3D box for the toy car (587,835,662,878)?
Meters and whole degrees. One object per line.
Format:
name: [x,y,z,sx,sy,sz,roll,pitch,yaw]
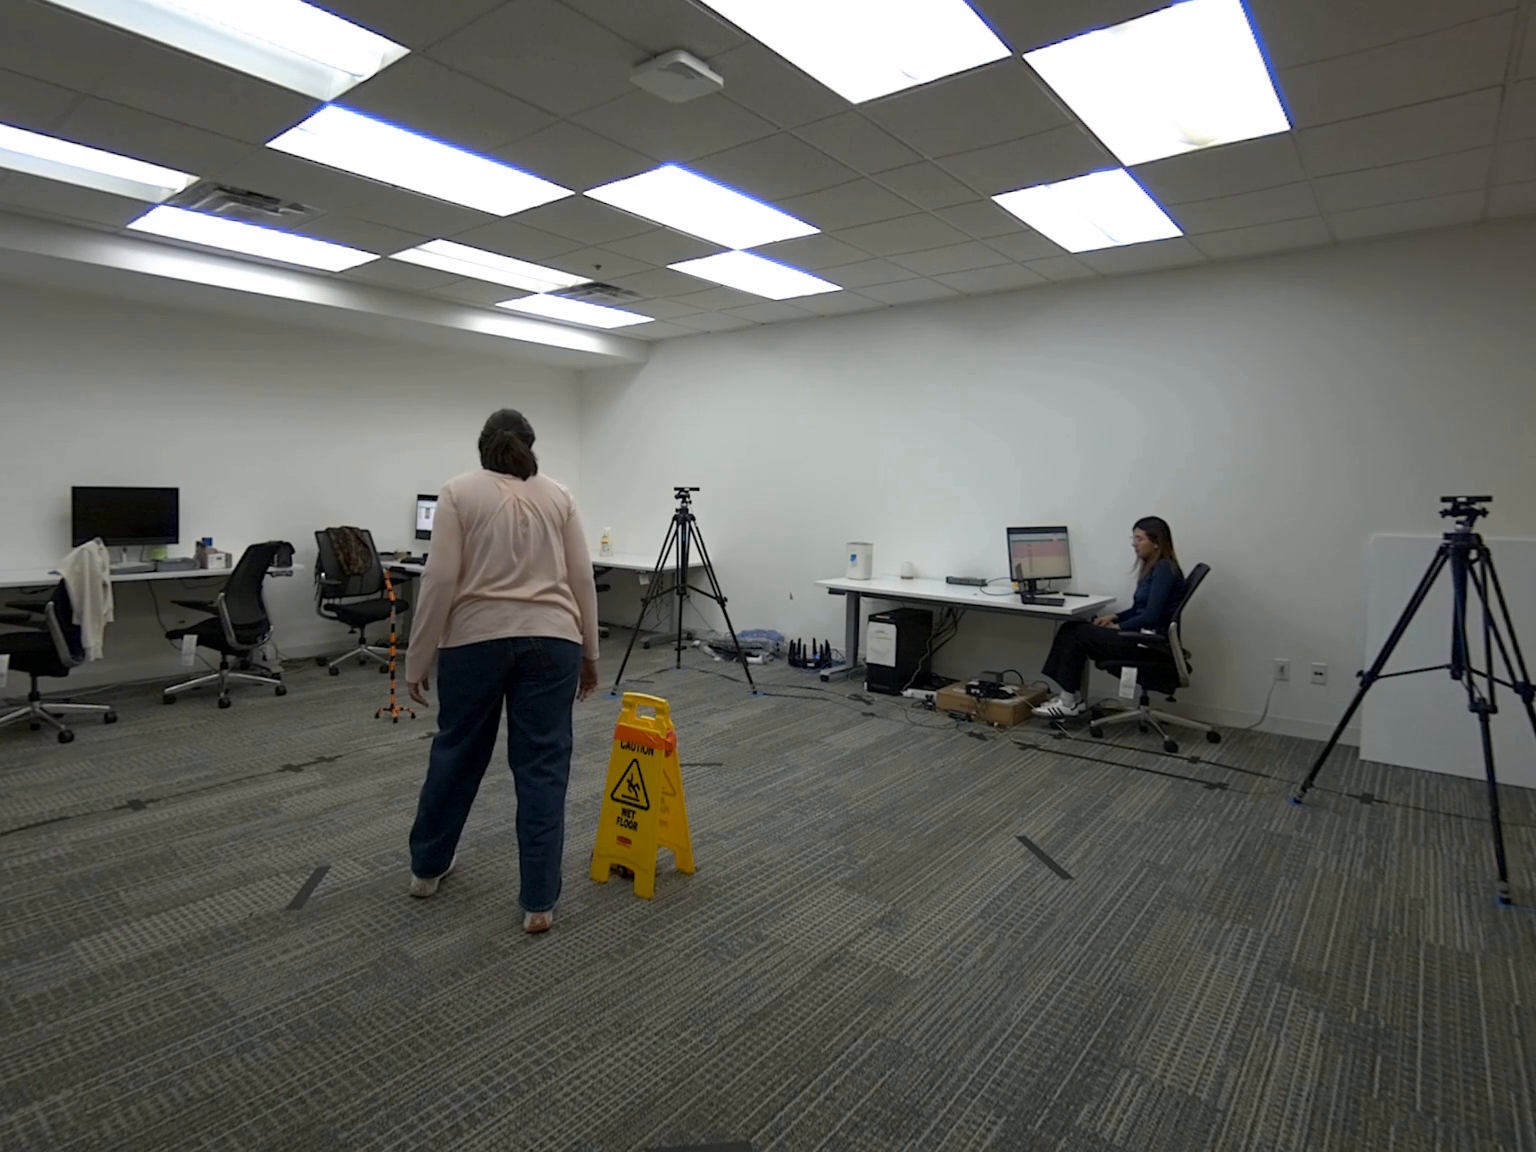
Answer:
toy car: [-0.532,1.028,3.098,0.261,0.083,0.126,-6,-3,40]
